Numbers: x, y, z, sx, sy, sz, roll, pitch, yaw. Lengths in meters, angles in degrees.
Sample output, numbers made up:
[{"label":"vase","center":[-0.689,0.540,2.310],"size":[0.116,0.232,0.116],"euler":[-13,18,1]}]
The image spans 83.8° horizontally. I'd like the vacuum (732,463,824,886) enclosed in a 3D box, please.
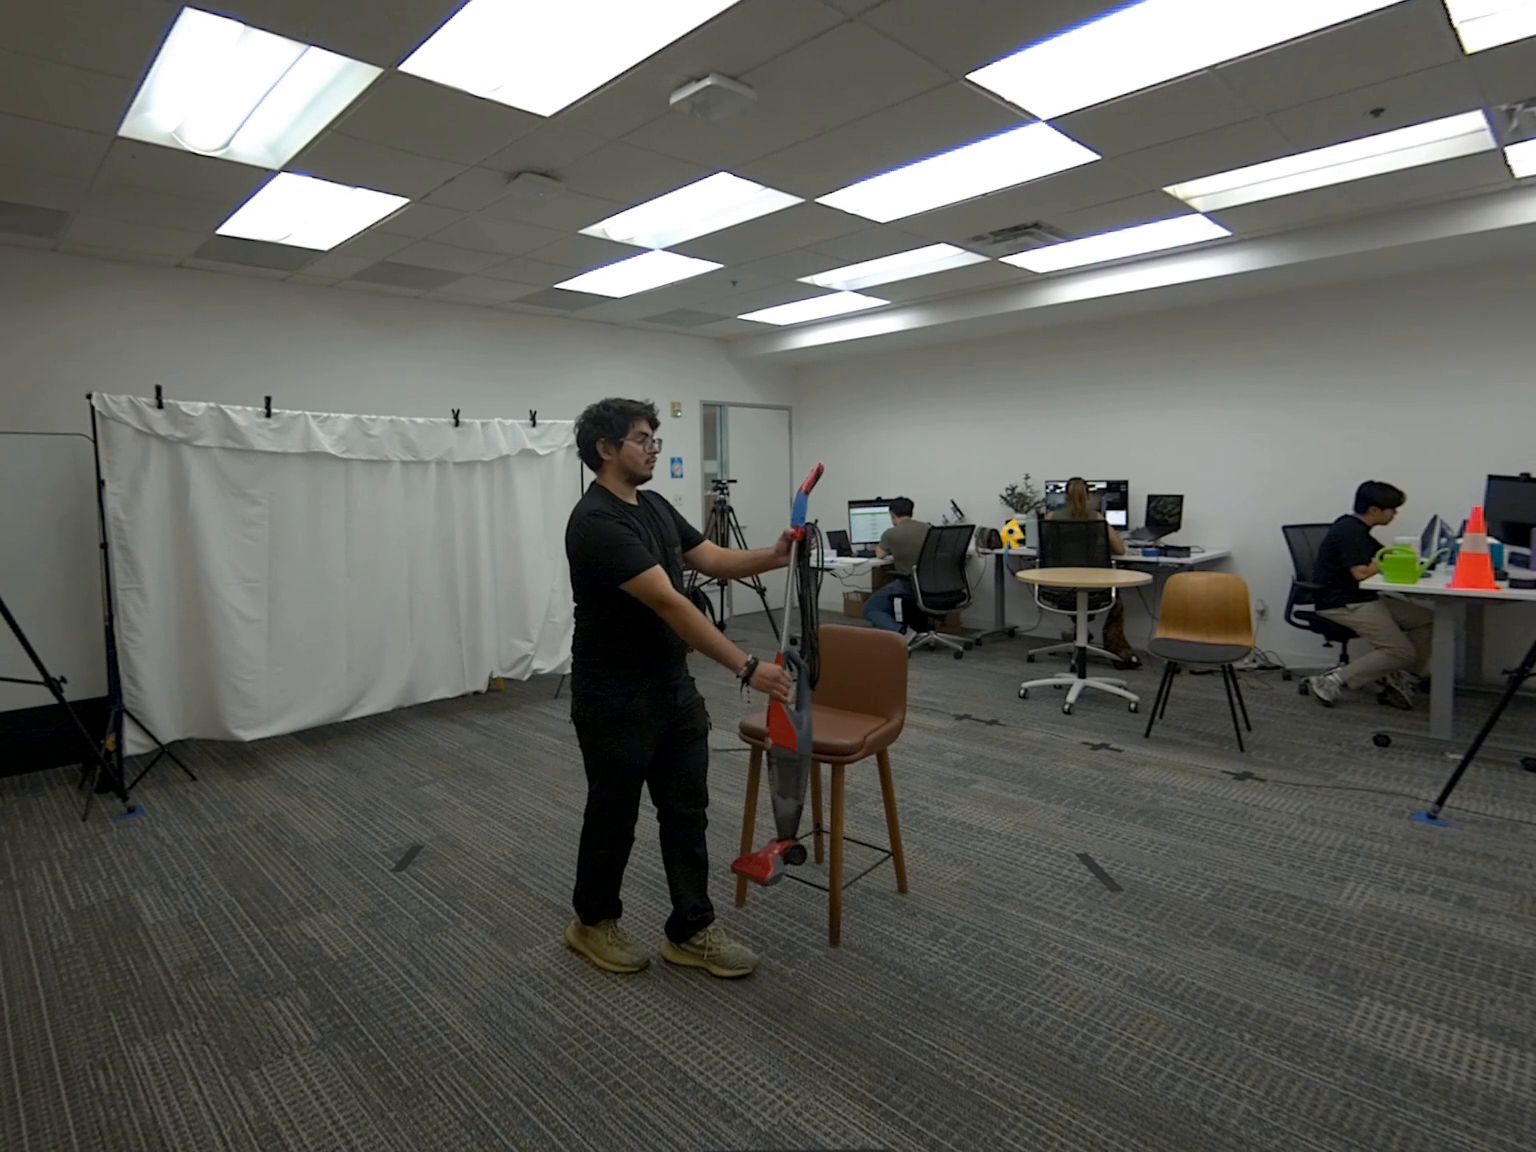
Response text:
[{"label":"vacuum","center":[0.082,0.201,2.231],"size":[0.142,1.062,0.252],"euler":[11,-16,-12]}]
